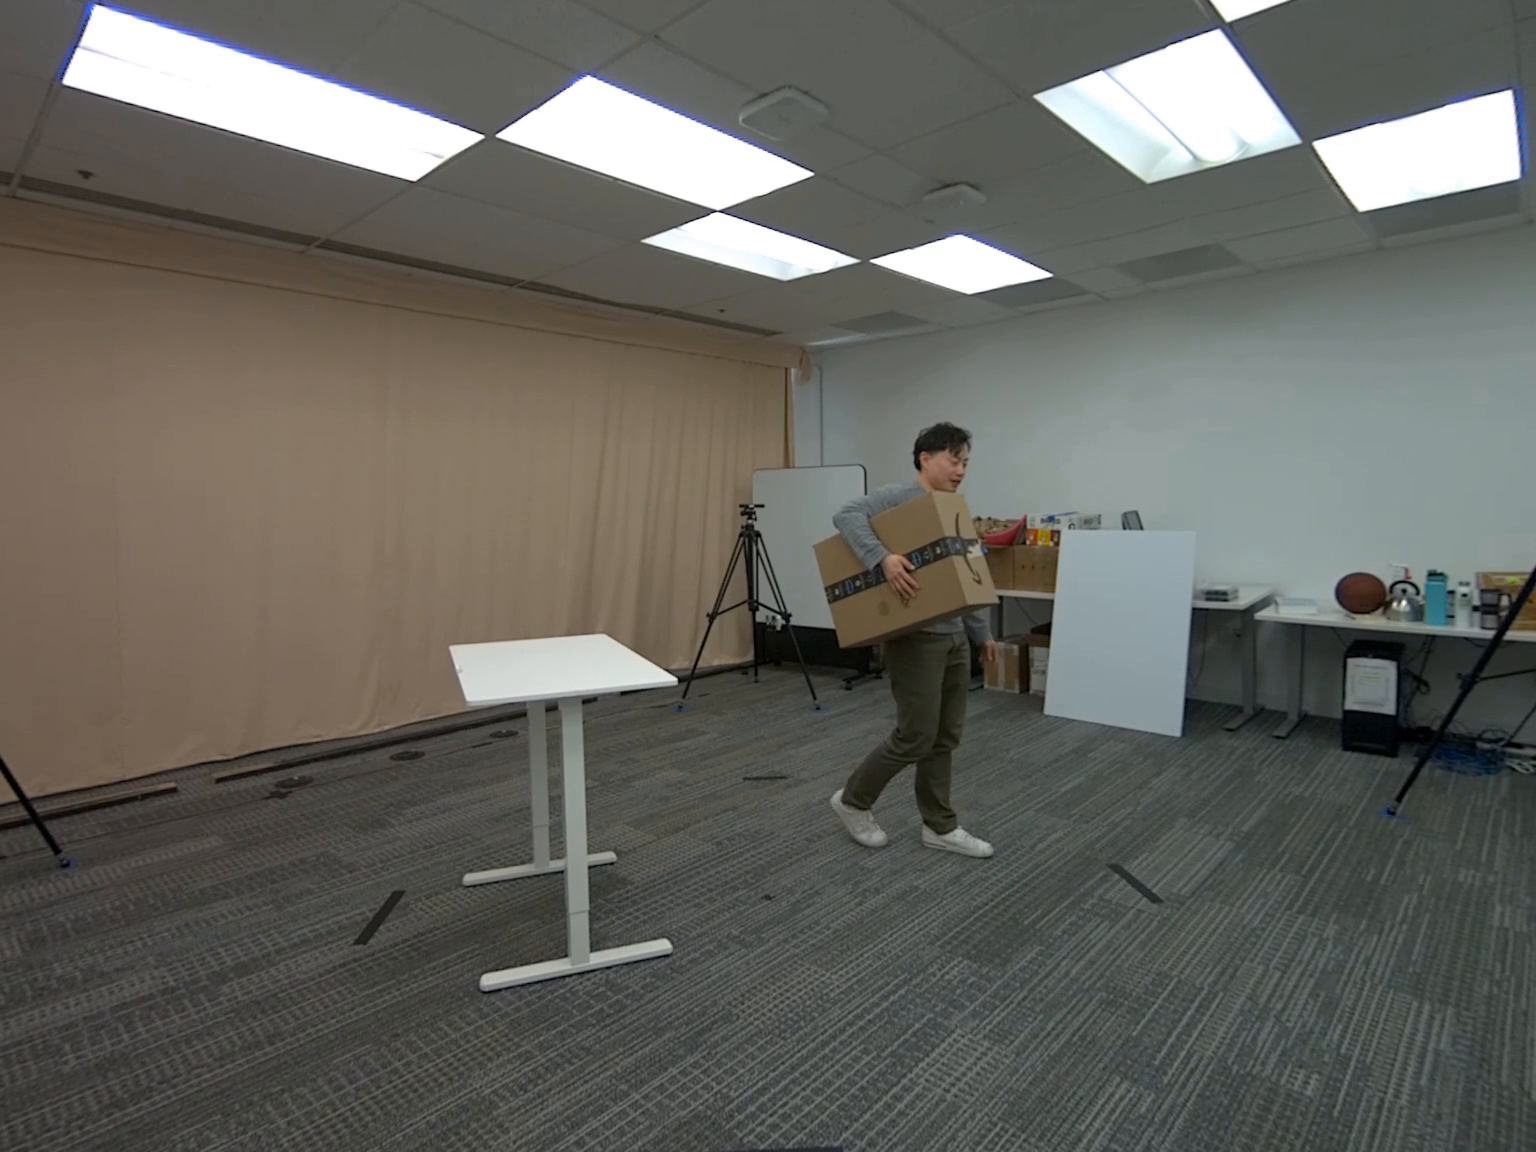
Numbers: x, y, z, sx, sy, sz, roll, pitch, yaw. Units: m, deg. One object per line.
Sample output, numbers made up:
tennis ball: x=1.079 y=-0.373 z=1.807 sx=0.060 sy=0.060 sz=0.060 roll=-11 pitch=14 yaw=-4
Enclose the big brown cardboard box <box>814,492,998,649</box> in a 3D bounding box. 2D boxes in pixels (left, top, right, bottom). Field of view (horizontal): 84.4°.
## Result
big brown cardboard box: x=0.477 y=-0.010 z=3.096 sx=0.226 sy=0.422 sz=0.601 roll=1 pitch=-19 yaw=-44
